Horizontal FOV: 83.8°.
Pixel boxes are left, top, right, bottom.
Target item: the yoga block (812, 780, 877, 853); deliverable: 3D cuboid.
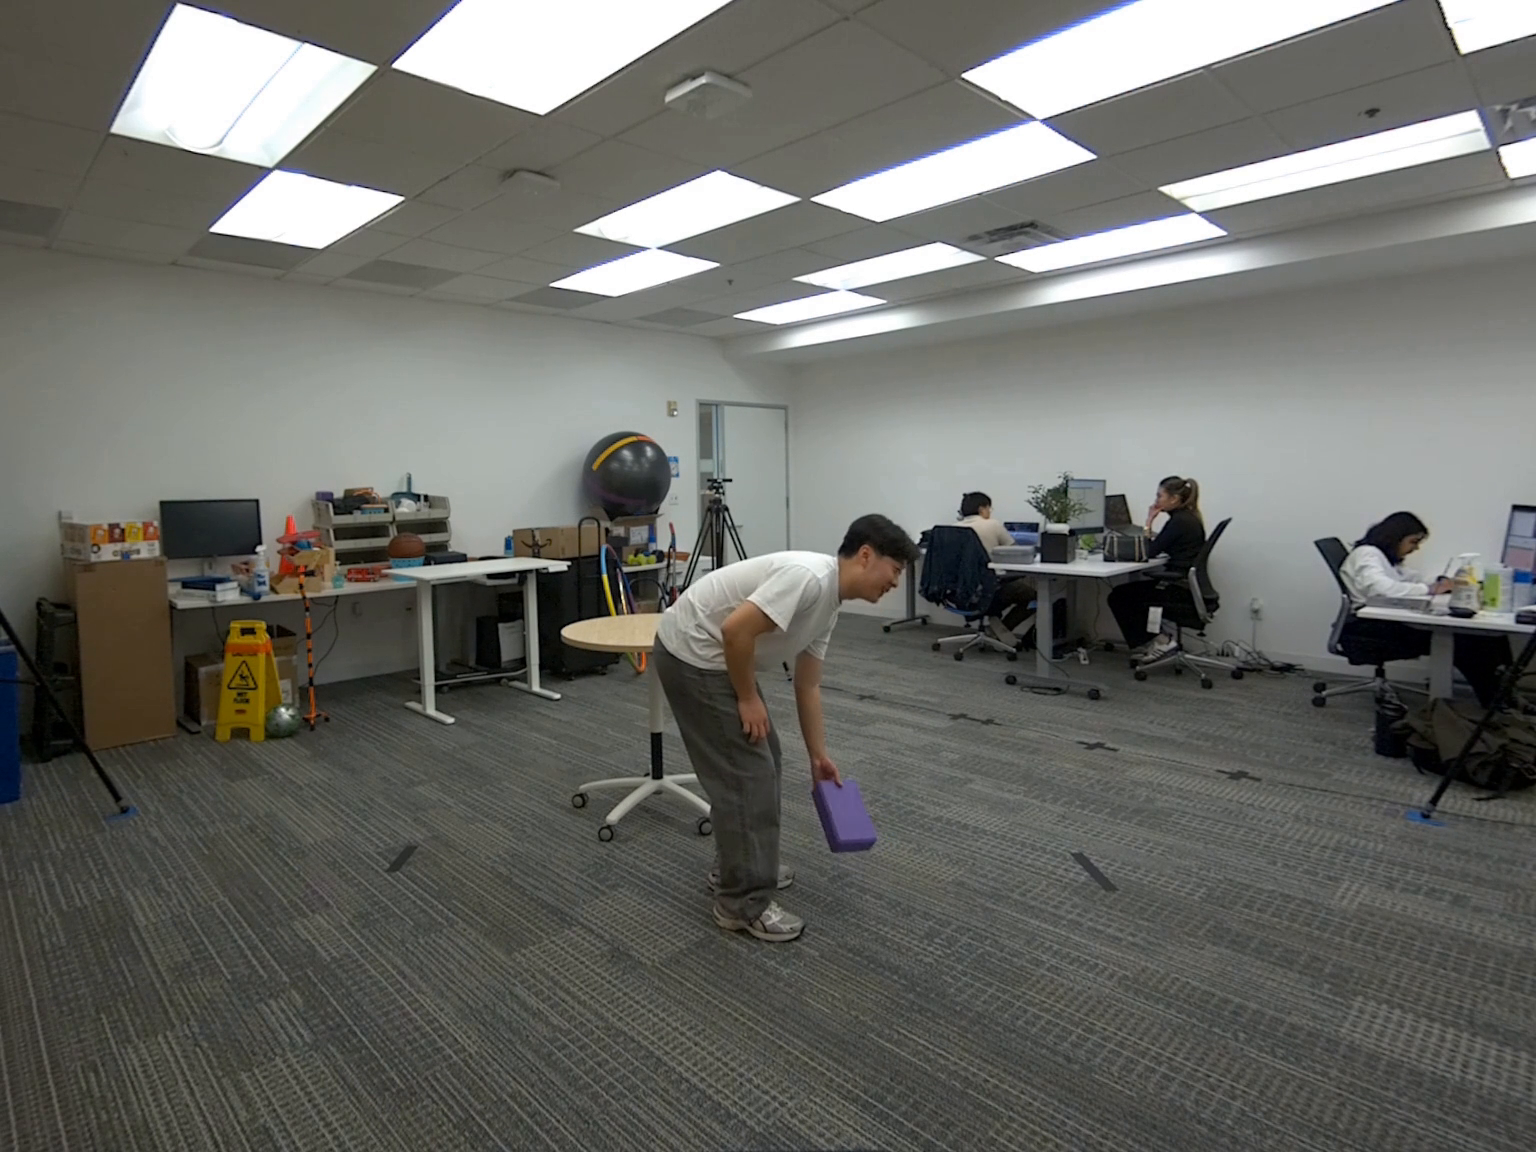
[{"bbox_3d":[0.256,0.789,2.838,0.146,0.075,0.237,3,42,-23],"label":"yoga block"}]
